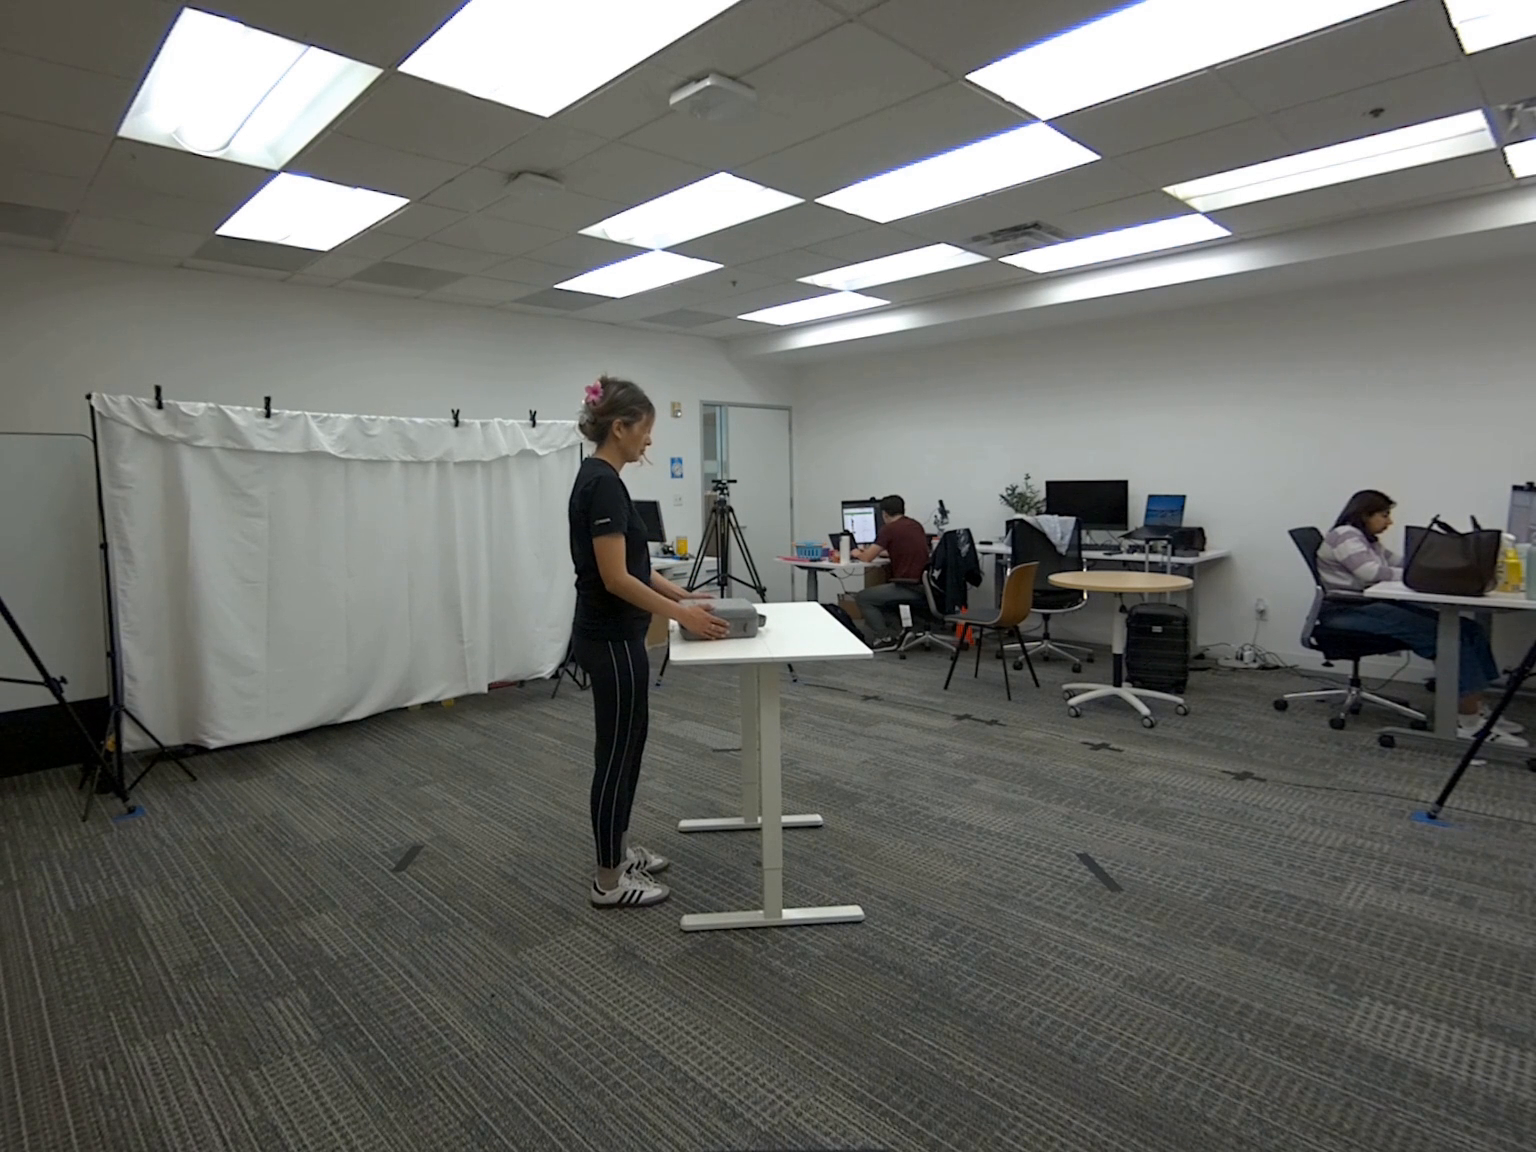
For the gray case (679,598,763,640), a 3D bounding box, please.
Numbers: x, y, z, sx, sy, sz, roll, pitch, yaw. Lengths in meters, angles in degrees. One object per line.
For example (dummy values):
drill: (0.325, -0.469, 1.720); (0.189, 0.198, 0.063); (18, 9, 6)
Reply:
gray case: (-0.169, 0.142, 2.888); (0.258, 0.104, 0.260); (-2, 6, -11)
